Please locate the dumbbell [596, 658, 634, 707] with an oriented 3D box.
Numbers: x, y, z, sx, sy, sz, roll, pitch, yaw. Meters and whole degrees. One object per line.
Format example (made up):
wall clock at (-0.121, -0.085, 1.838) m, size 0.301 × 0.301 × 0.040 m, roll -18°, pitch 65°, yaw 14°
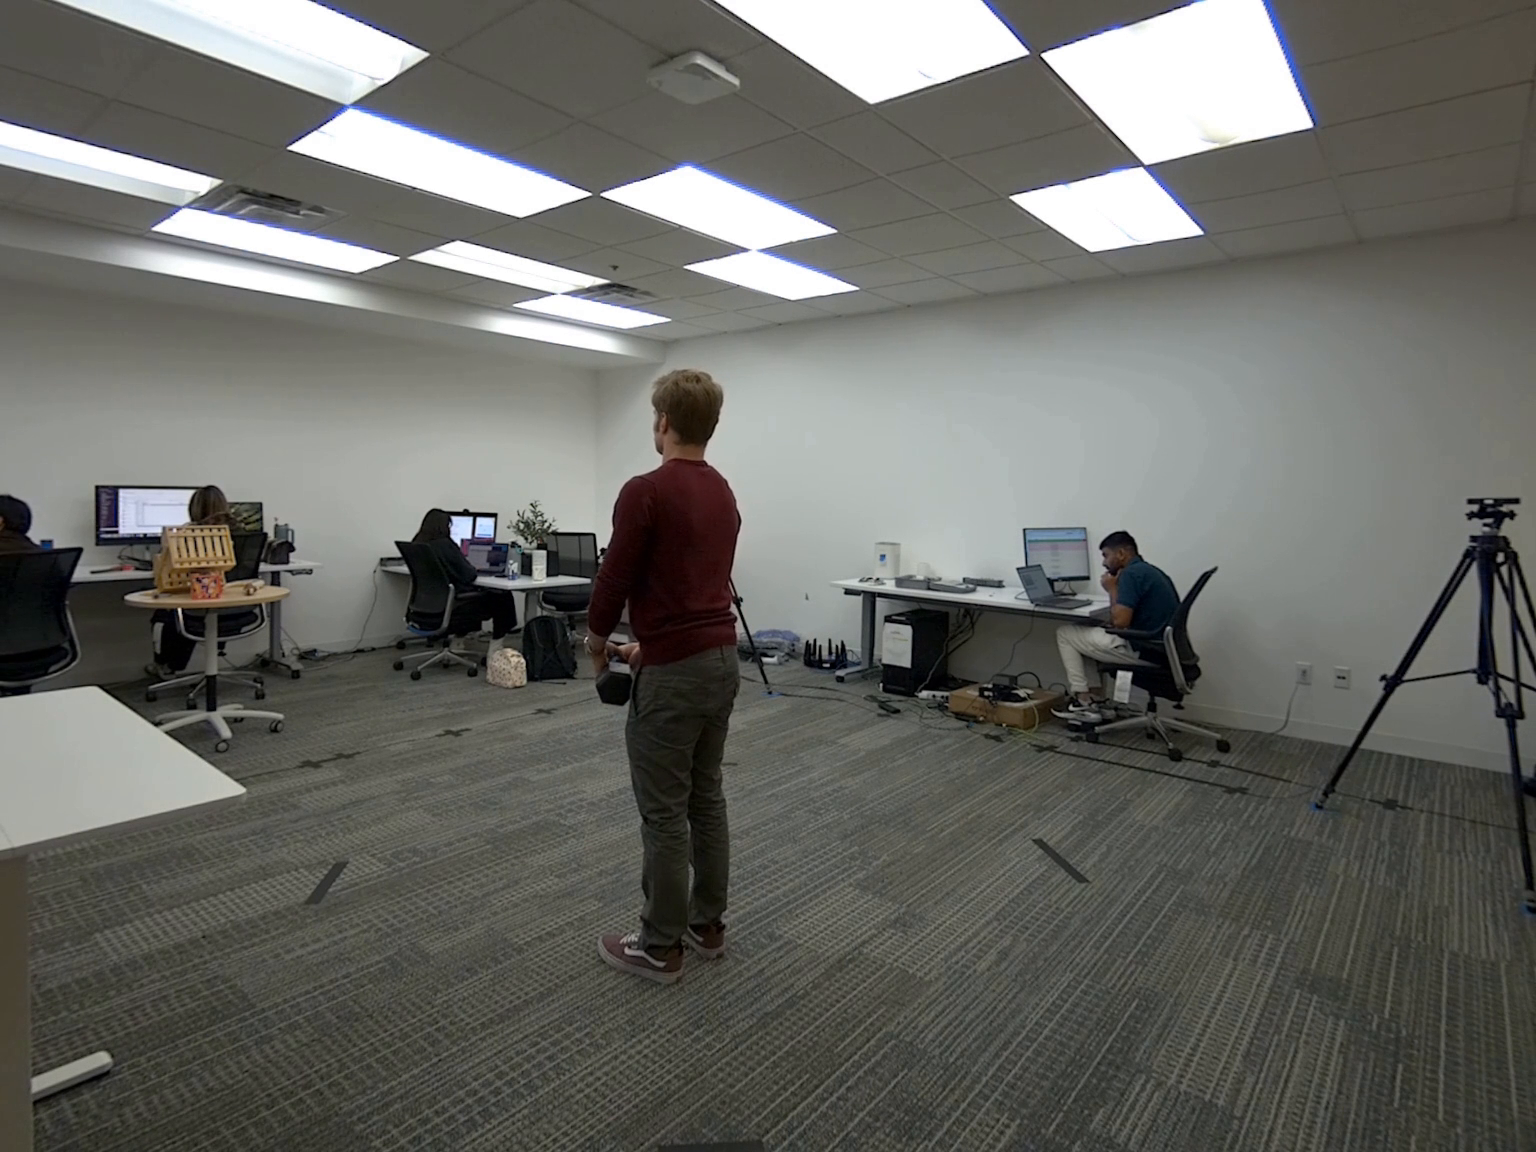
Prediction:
dumbbell at (-0.474, 0.276, 2.588) m, size 0.106 × 0.123 × 0.301 m, roll 40°, pitch 7°, yaw -19°
